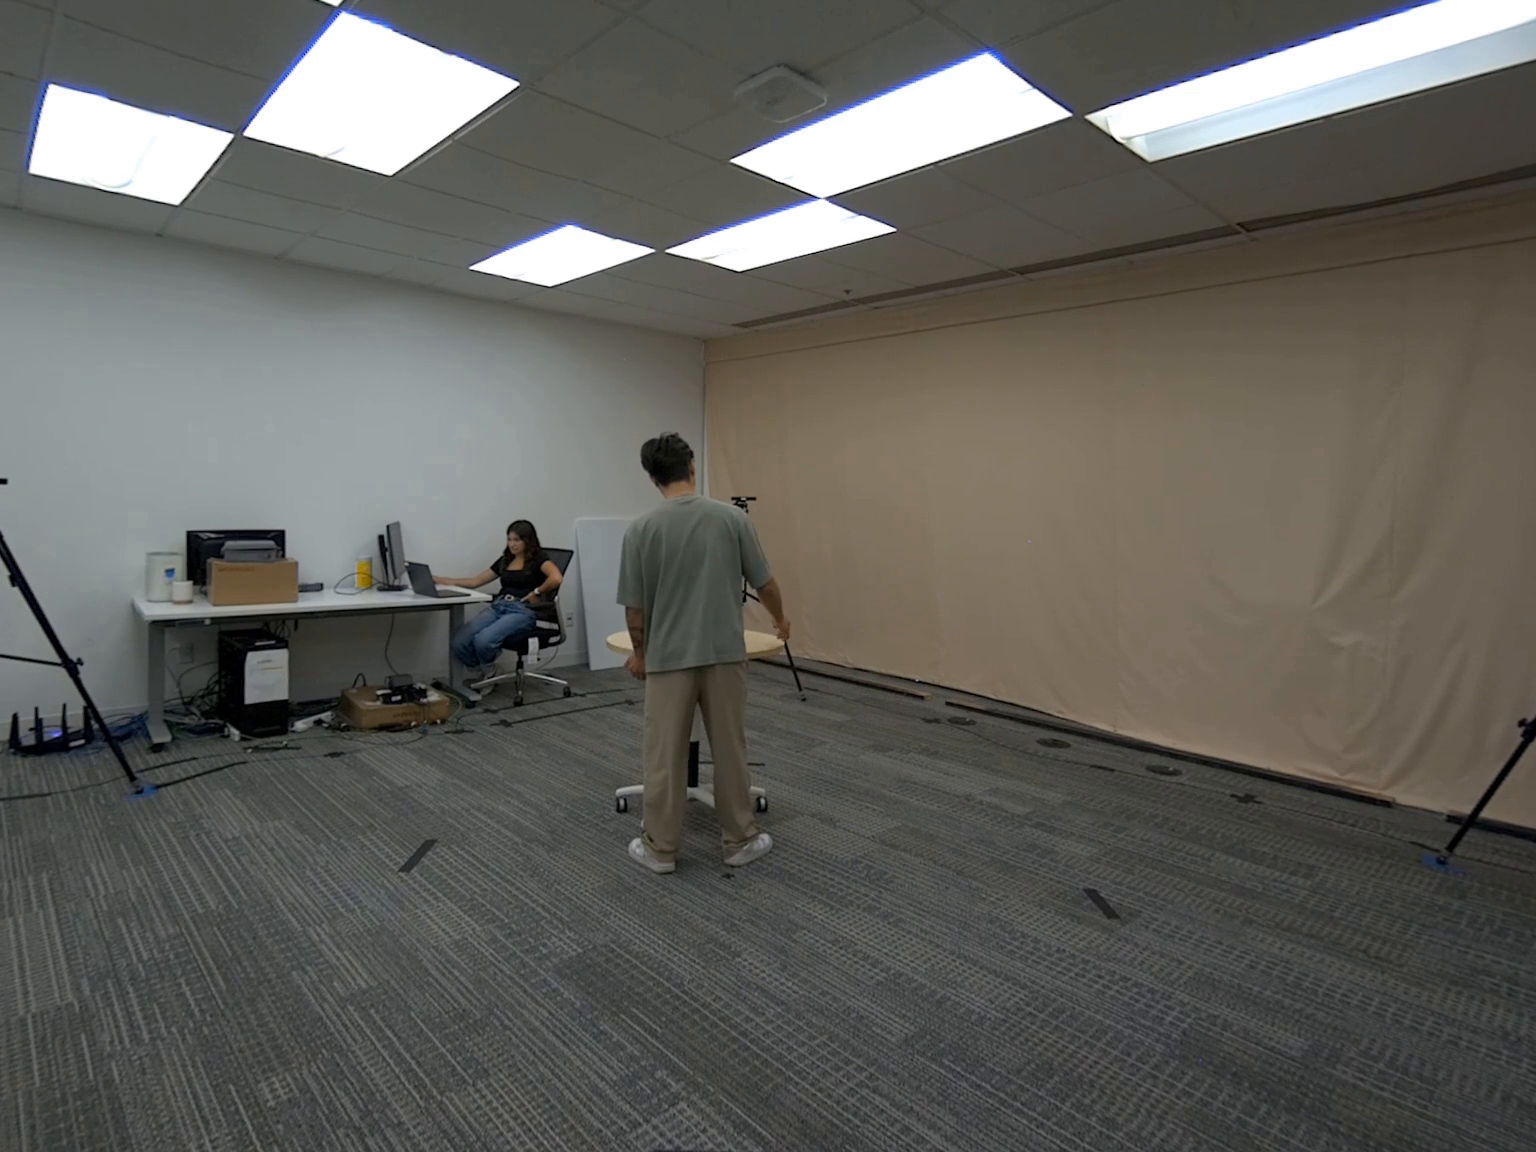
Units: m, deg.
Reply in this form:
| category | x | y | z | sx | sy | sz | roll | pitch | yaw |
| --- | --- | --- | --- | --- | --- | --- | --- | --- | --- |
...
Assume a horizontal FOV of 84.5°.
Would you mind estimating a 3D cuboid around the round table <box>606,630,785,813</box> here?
| category | x | y | z | sx | sy | sz | roll | pitch | yaw |
| --- | --- | --- | --- | --- | --- | --- | --- | --- | --- |
| round table | -0.335 | 0.664 | 3.657 | 0.784 | 0.785 | 0.787 | 2 | 3 | -1 |
